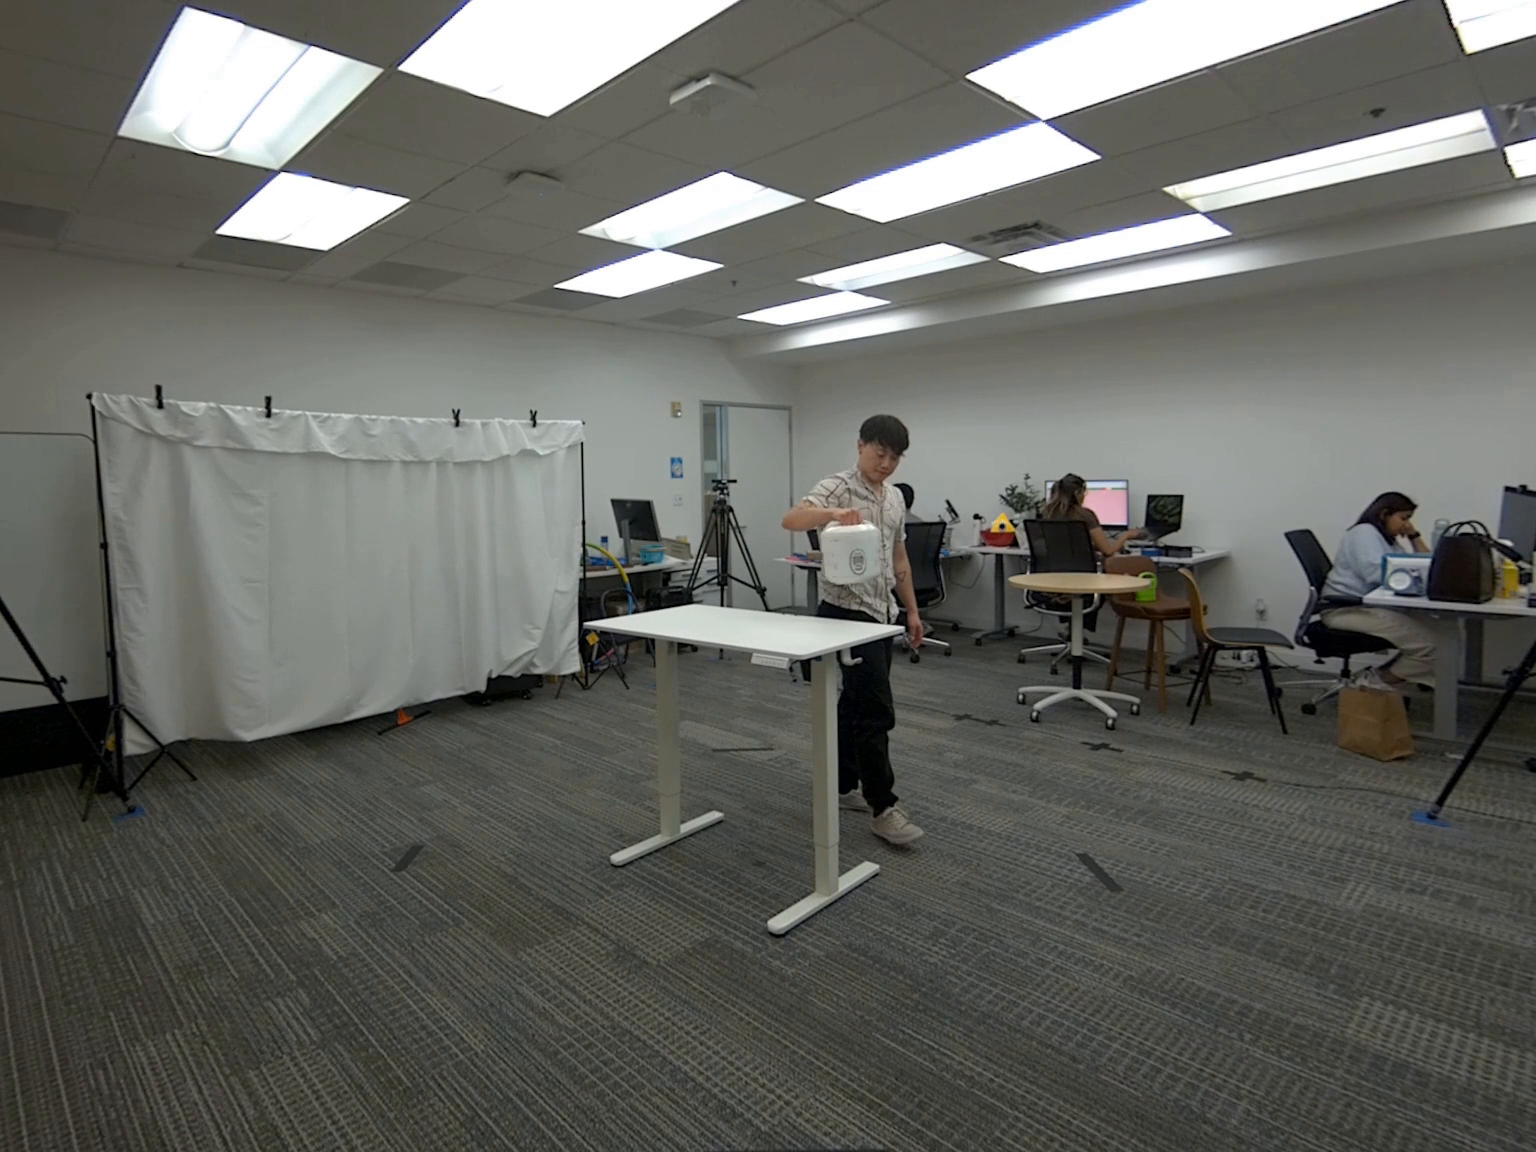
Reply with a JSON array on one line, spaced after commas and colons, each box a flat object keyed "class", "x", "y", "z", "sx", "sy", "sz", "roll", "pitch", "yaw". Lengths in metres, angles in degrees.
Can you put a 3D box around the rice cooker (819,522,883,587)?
[{"class": "rice cooker", "x": 0.307, "y": -0.093, "z": 3.108, "sx": 0.220, "sy": 0.232, "sz": 0.219, "roll": -6, "pitch": 3, "yaw": -5}]
